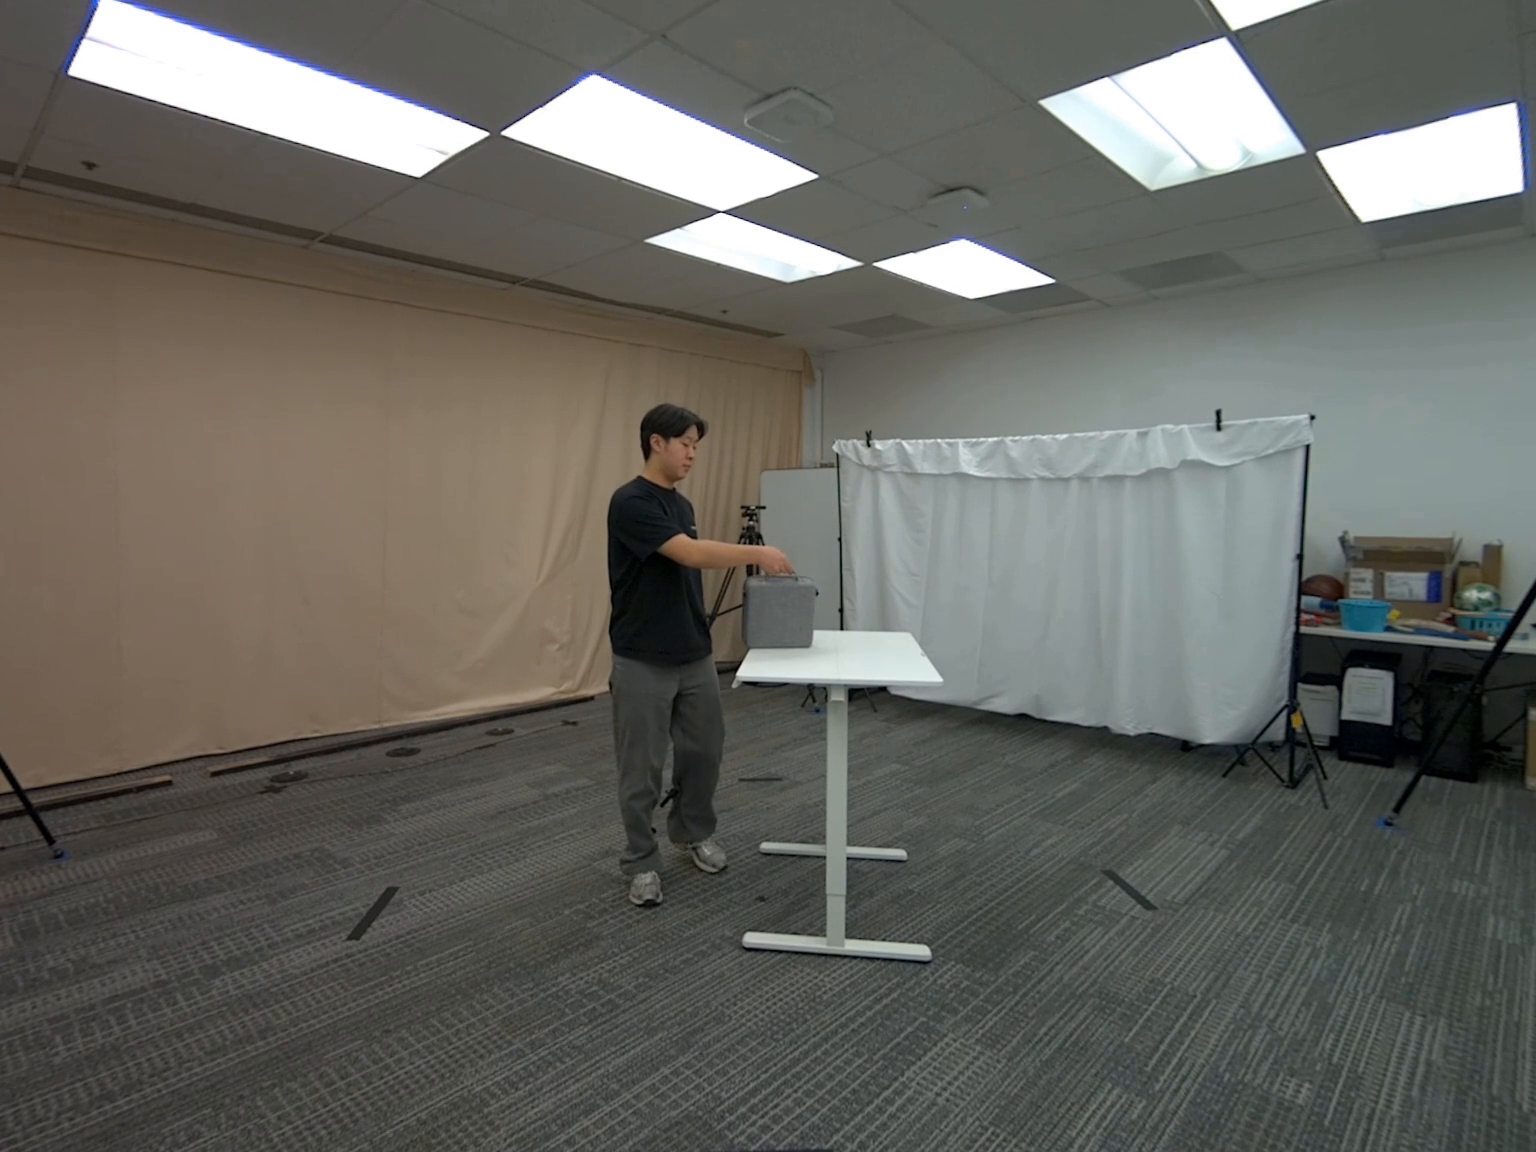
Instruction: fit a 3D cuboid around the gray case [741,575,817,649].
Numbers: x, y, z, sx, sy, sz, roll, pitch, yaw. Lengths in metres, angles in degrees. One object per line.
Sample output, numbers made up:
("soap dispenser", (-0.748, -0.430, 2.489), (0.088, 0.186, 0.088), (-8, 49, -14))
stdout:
("gray case", (0.045, 0.120, 3.004), (0.261, 0.285, 0.104), (-1, 10, -6))
